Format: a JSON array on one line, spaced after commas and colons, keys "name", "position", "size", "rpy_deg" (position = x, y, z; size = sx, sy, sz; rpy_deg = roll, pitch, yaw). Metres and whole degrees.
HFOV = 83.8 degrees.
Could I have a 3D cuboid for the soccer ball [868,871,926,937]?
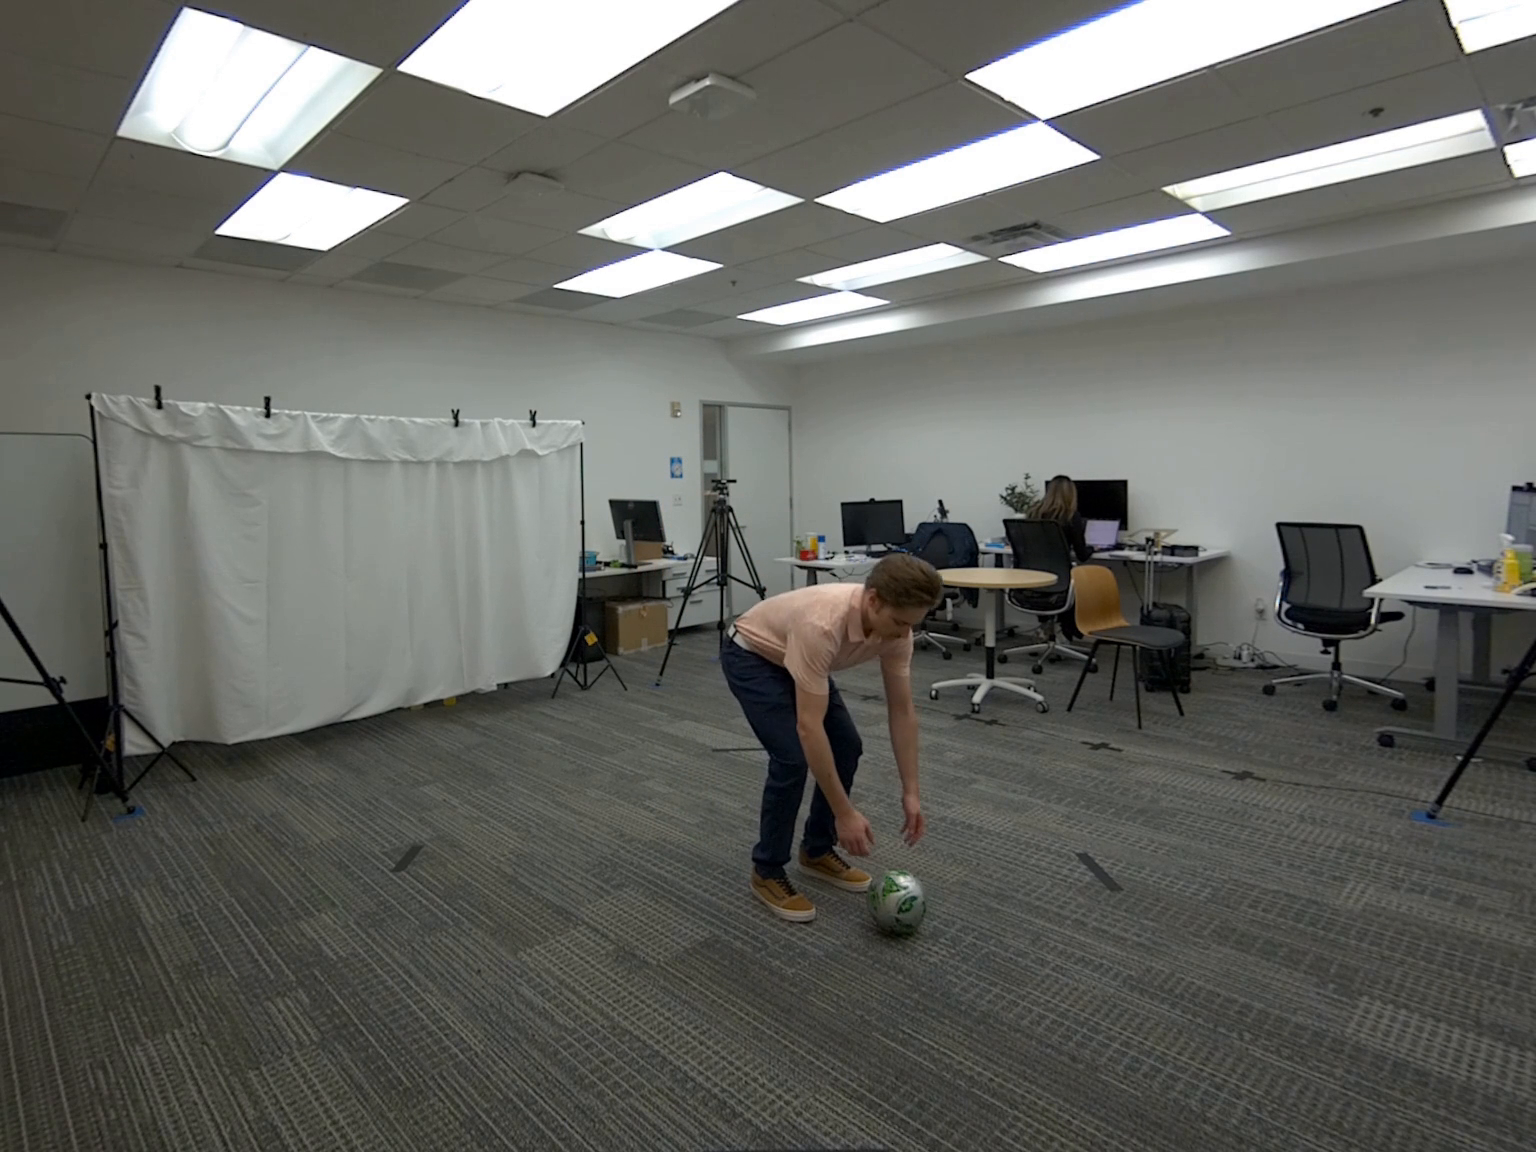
[{"name": "soccer ball", "position": [0.405, 1.003, 2.627], "size": [0.187, 0.187, 0.188], "rpy_deg": [-1, 5, -2]}]
